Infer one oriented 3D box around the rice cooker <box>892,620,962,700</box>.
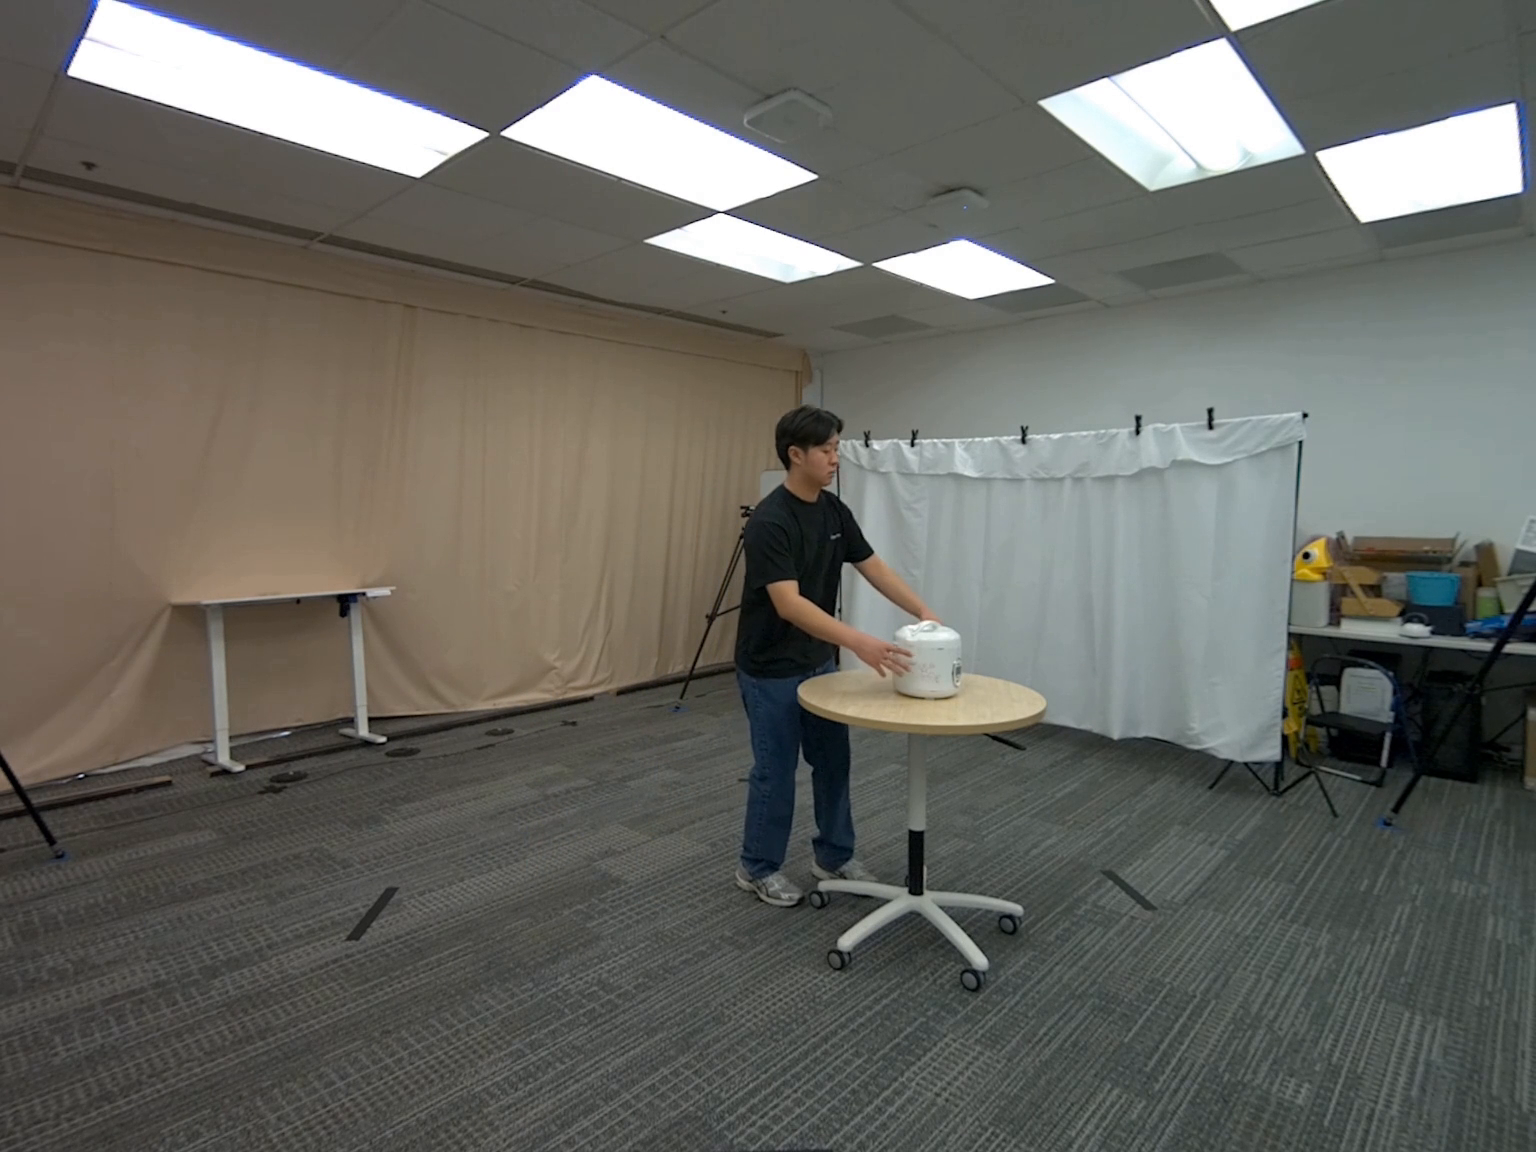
[{"bbox_3d":[0.511,0.260,2.663,0.224,0.232,0.214,2,5,40],"label":"rice cooker"}]
